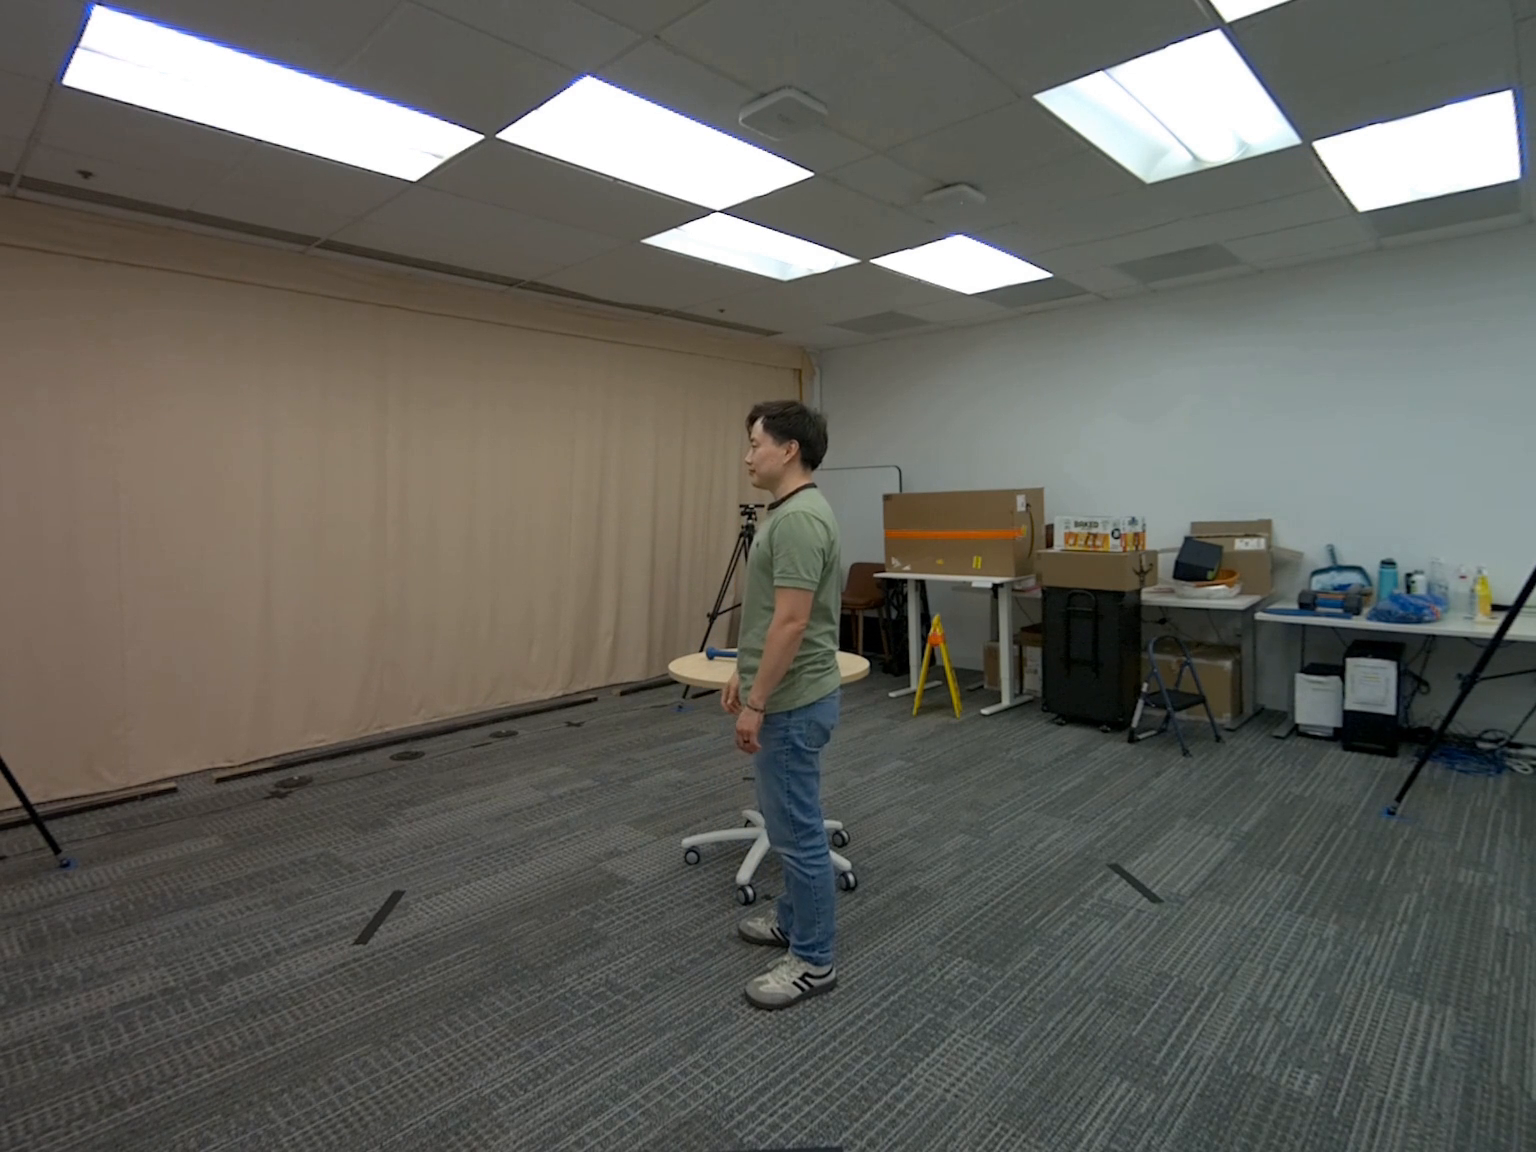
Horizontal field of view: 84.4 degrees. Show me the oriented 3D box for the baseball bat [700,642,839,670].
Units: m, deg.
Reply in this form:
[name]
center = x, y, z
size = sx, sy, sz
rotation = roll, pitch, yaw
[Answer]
[baseball bat]
center = -0.005, 0.301, 3.183
size = 0.559, 0.089, 0.086
rotation = -2, 3, 33
